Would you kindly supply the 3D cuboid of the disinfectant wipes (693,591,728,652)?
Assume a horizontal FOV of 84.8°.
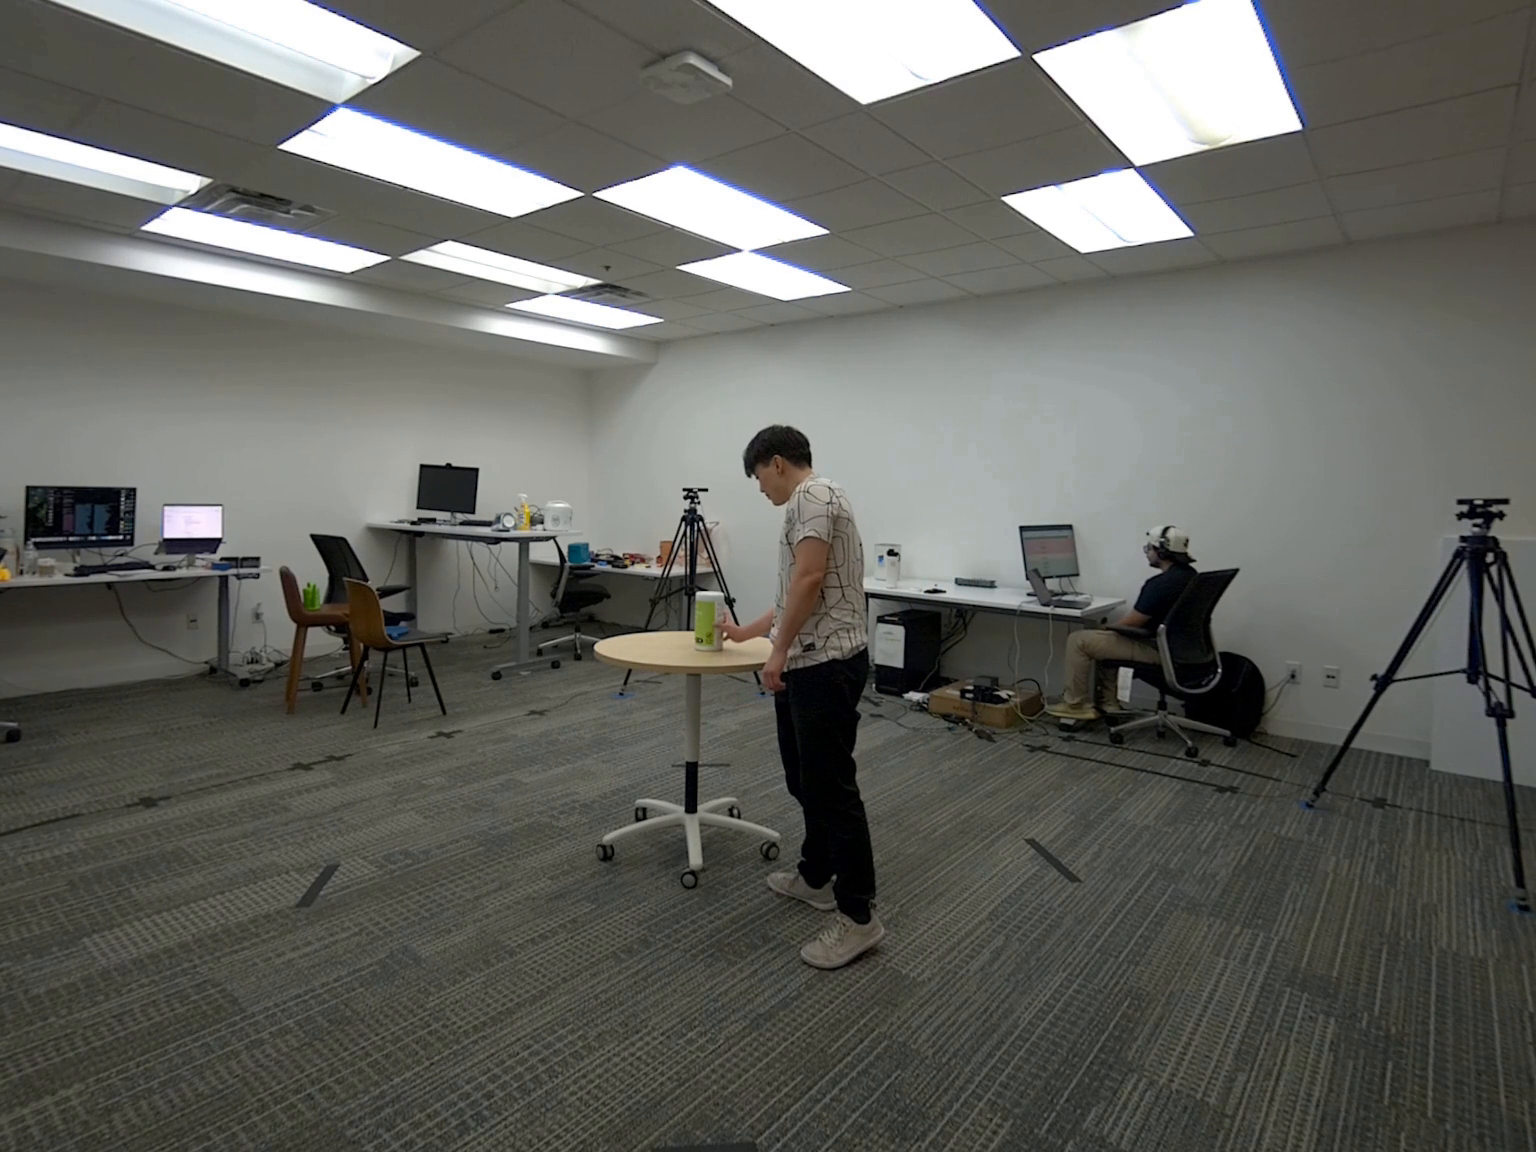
[{"bbox_3d":[-0.239,0.169,3.229,0.118,0.216,0.118,1,5,-2],"label":"disinfectant wipes"}]
